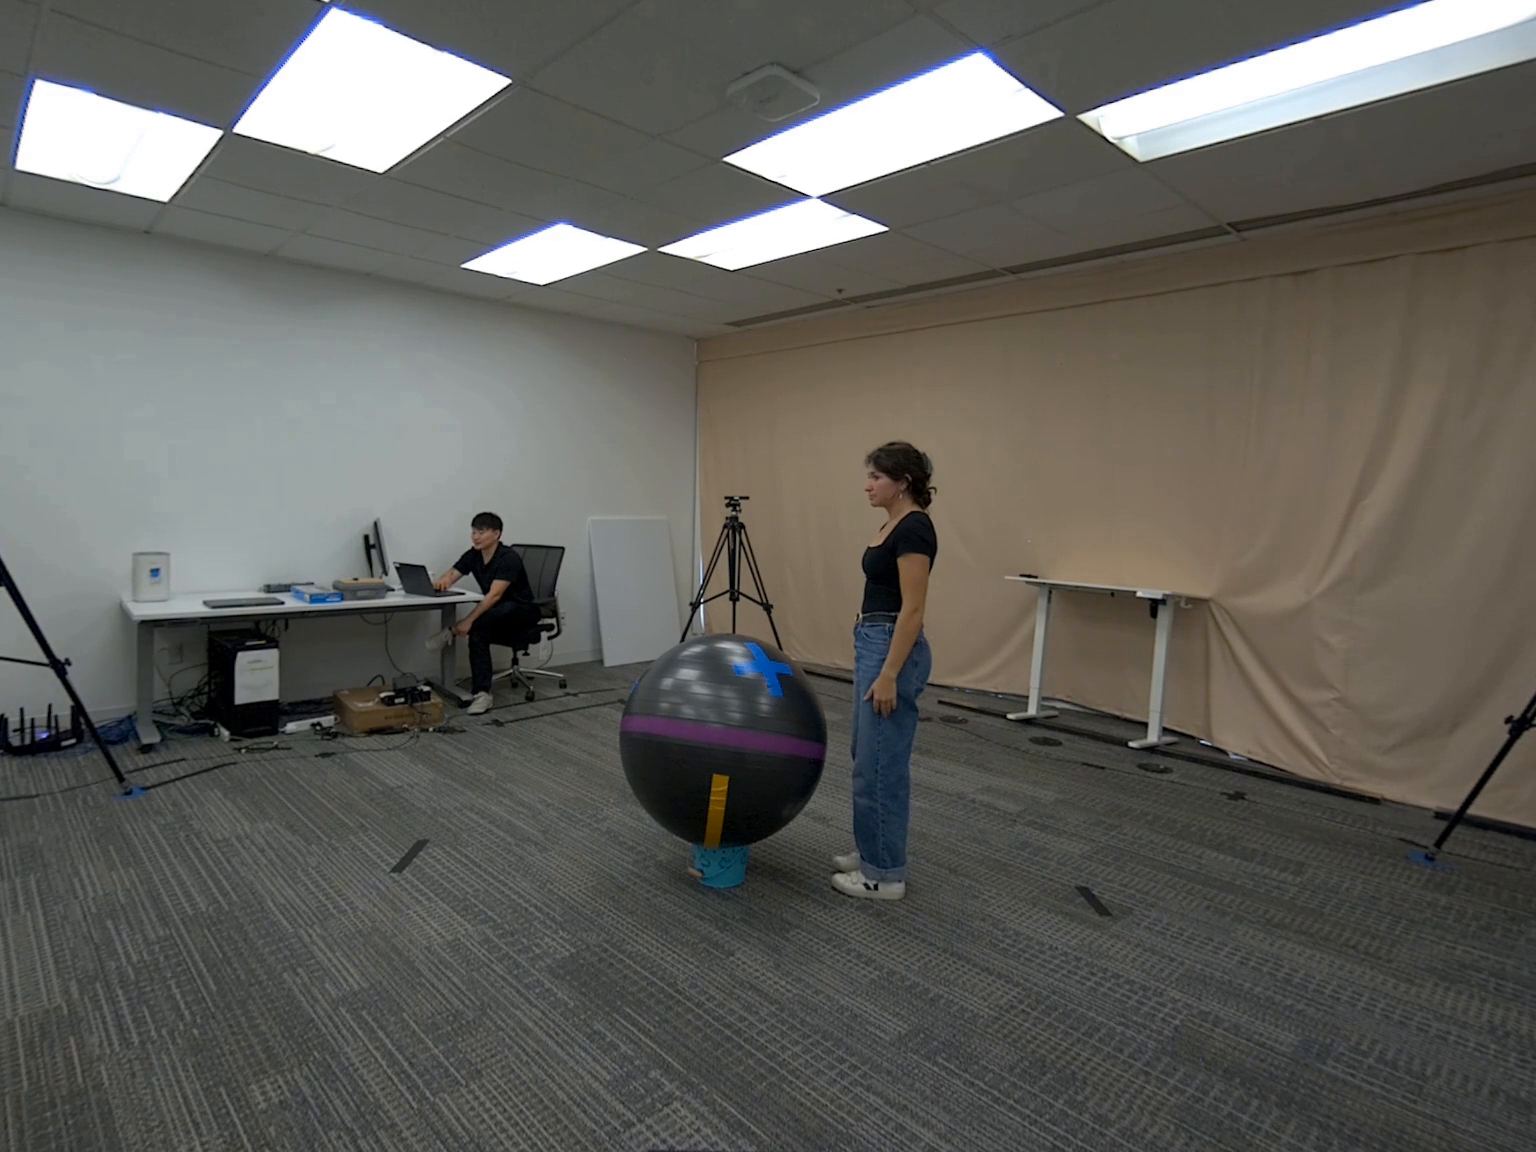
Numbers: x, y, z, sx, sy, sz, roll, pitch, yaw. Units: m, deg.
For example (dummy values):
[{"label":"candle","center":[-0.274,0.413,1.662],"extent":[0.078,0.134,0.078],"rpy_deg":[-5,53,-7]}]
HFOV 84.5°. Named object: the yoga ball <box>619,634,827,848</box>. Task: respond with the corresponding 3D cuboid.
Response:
[{"label":"yoga ball","center":[-0.168,0.595,3.088],"extent":[0.757,0.756,0.760],"rpy_deg":[1,4,-1]}]
